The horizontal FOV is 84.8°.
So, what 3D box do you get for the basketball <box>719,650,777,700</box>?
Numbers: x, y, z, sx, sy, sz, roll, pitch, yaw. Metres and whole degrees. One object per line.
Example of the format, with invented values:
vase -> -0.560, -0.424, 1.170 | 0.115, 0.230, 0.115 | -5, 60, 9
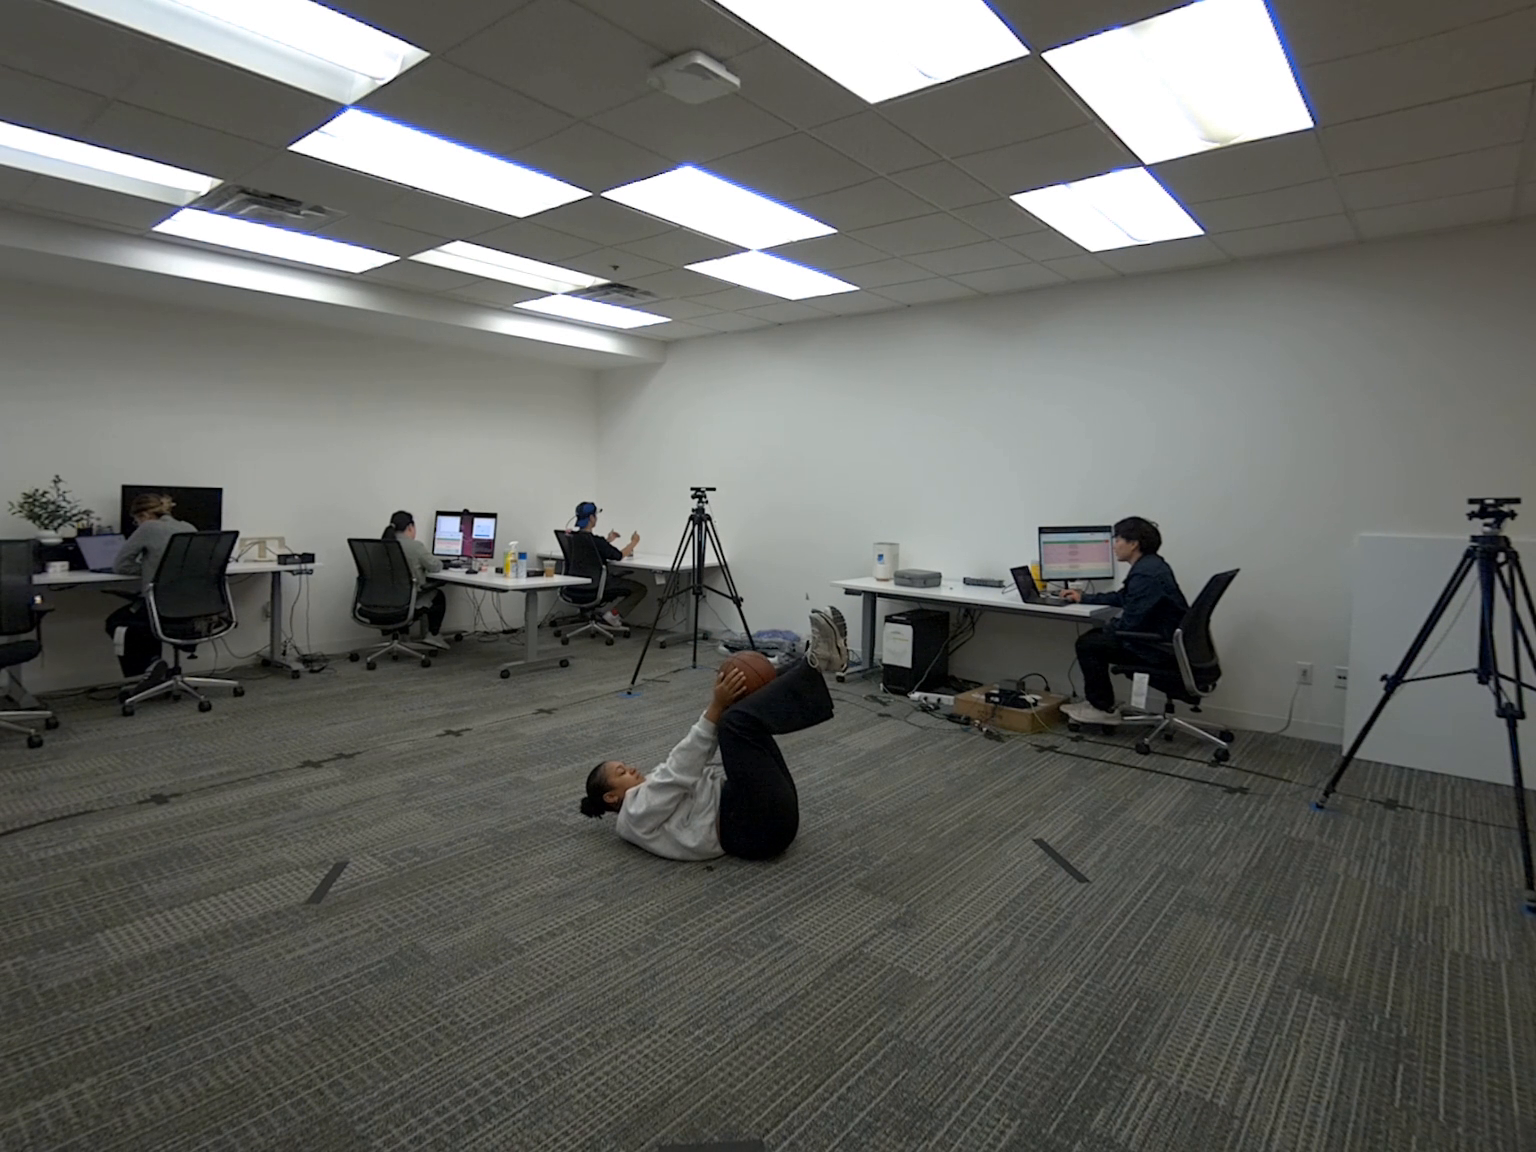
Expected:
basketball -> -0.099, 0.400, 3.322 | 0.236, 0.235, 0.237 | 0, 4, -2
